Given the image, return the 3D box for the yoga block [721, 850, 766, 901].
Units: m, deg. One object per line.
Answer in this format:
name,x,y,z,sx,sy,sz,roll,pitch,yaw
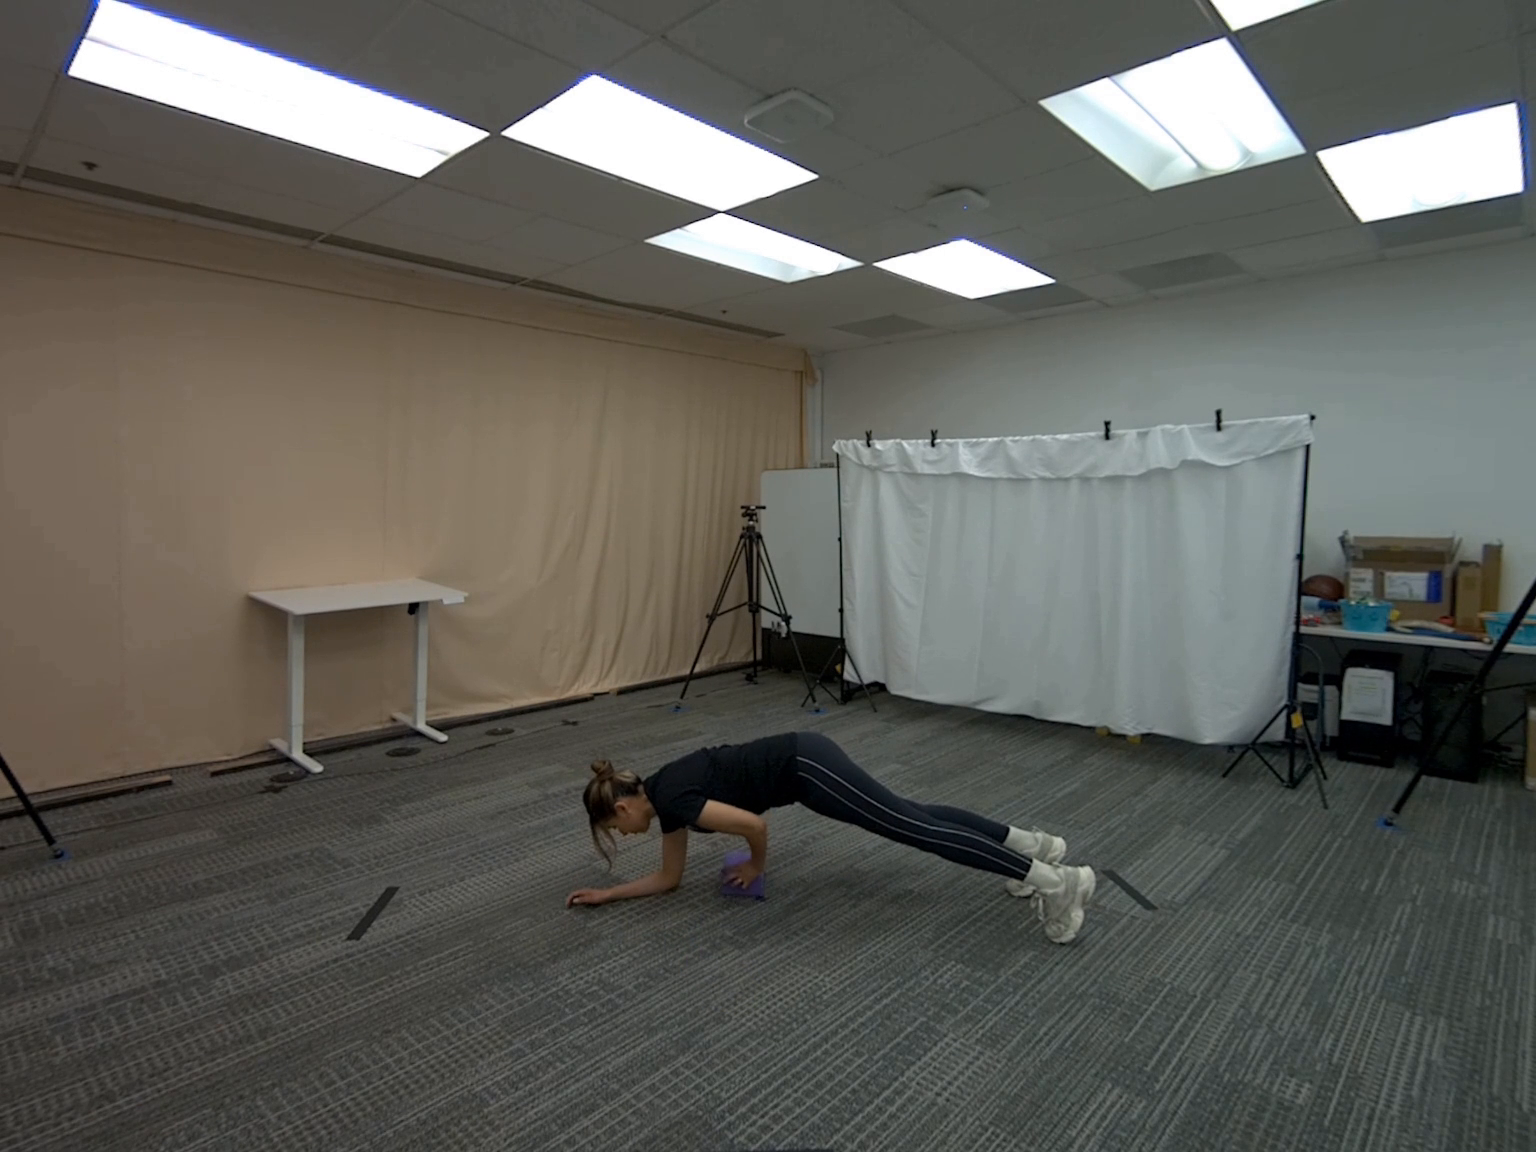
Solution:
yoga block,-0.084,1.095,3.110,0.149,0.076,0.229,1,6,2
